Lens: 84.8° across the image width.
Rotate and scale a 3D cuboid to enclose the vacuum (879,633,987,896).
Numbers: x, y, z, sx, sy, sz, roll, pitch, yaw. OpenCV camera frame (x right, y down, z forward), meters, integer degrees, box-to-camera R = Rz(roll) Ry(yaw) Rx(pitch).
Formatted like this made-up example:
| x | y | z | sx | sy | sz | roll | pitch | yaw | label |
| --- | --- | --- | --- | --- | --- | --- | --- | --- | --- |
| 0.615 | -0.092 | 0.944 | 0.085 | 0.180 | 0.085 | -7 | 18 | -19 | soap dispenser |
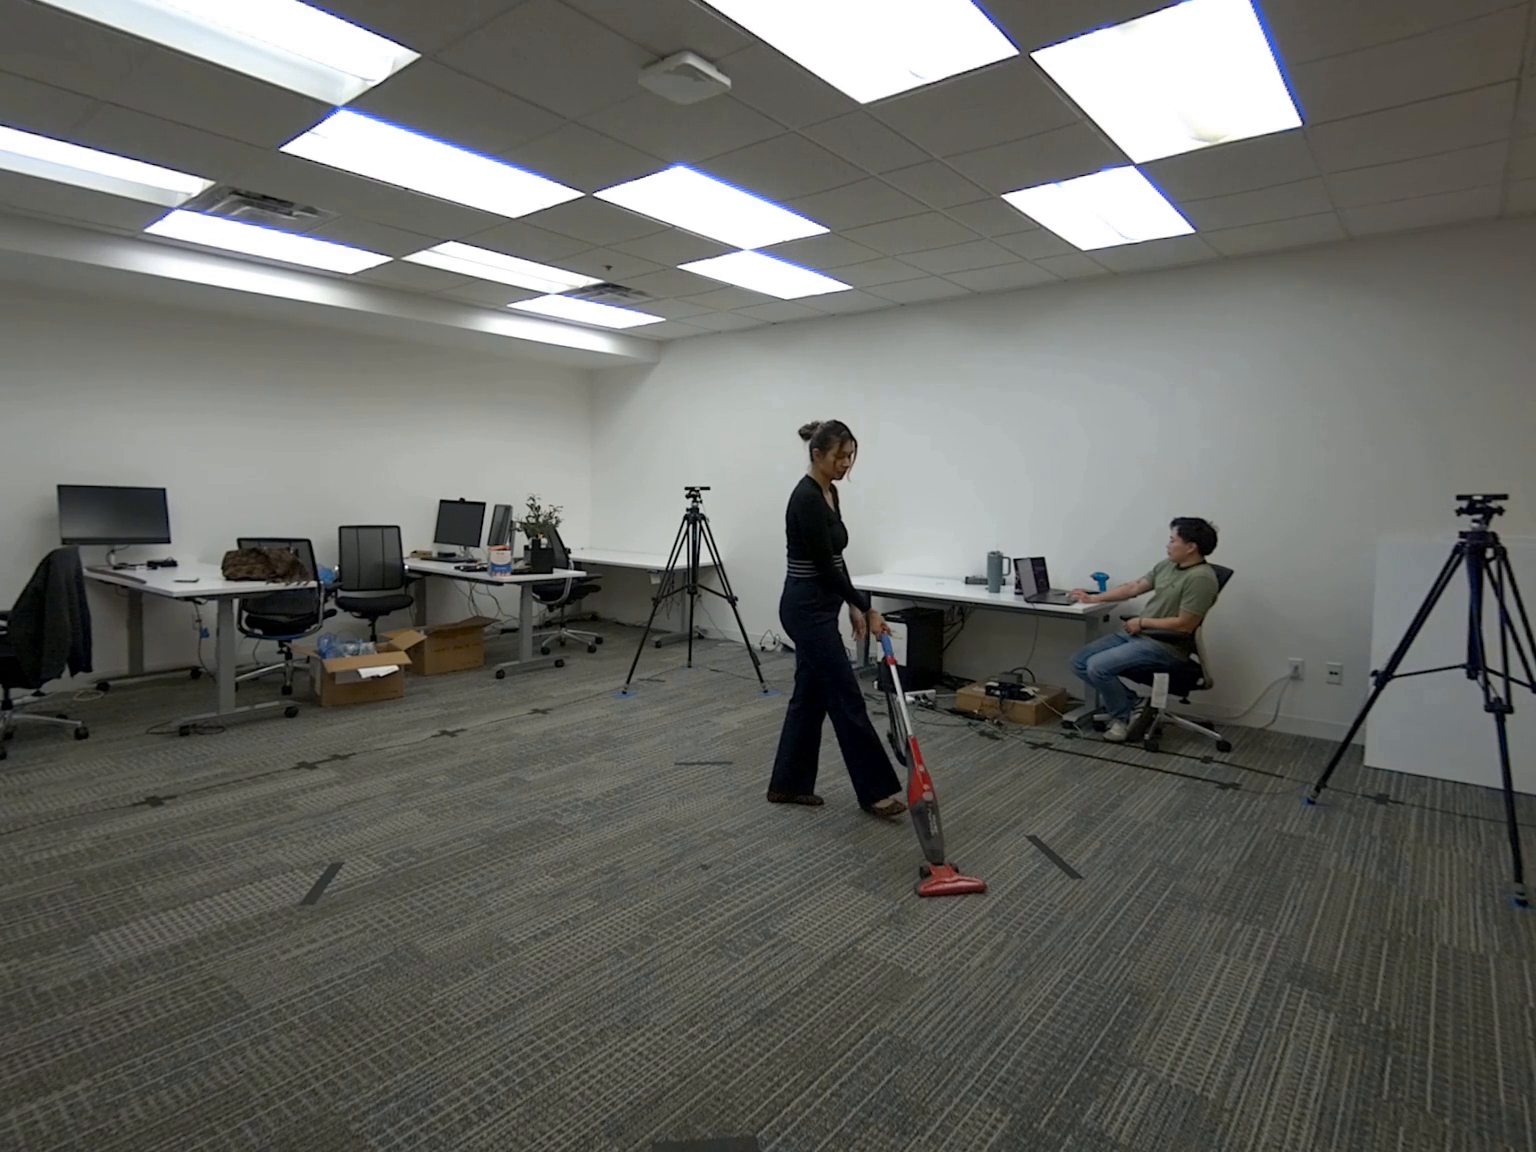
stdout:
| x | y | z | sx | sy | sz | roll | pitch | yaw | label |
| --- | --- | --- | --- | --- | --- | --- | --- | --- | --- |
| 0.536 | 0.634 | 3.290 | 0.247 | 1.082 | 0.143 | 2 | -34 | -22 | vacuum |
